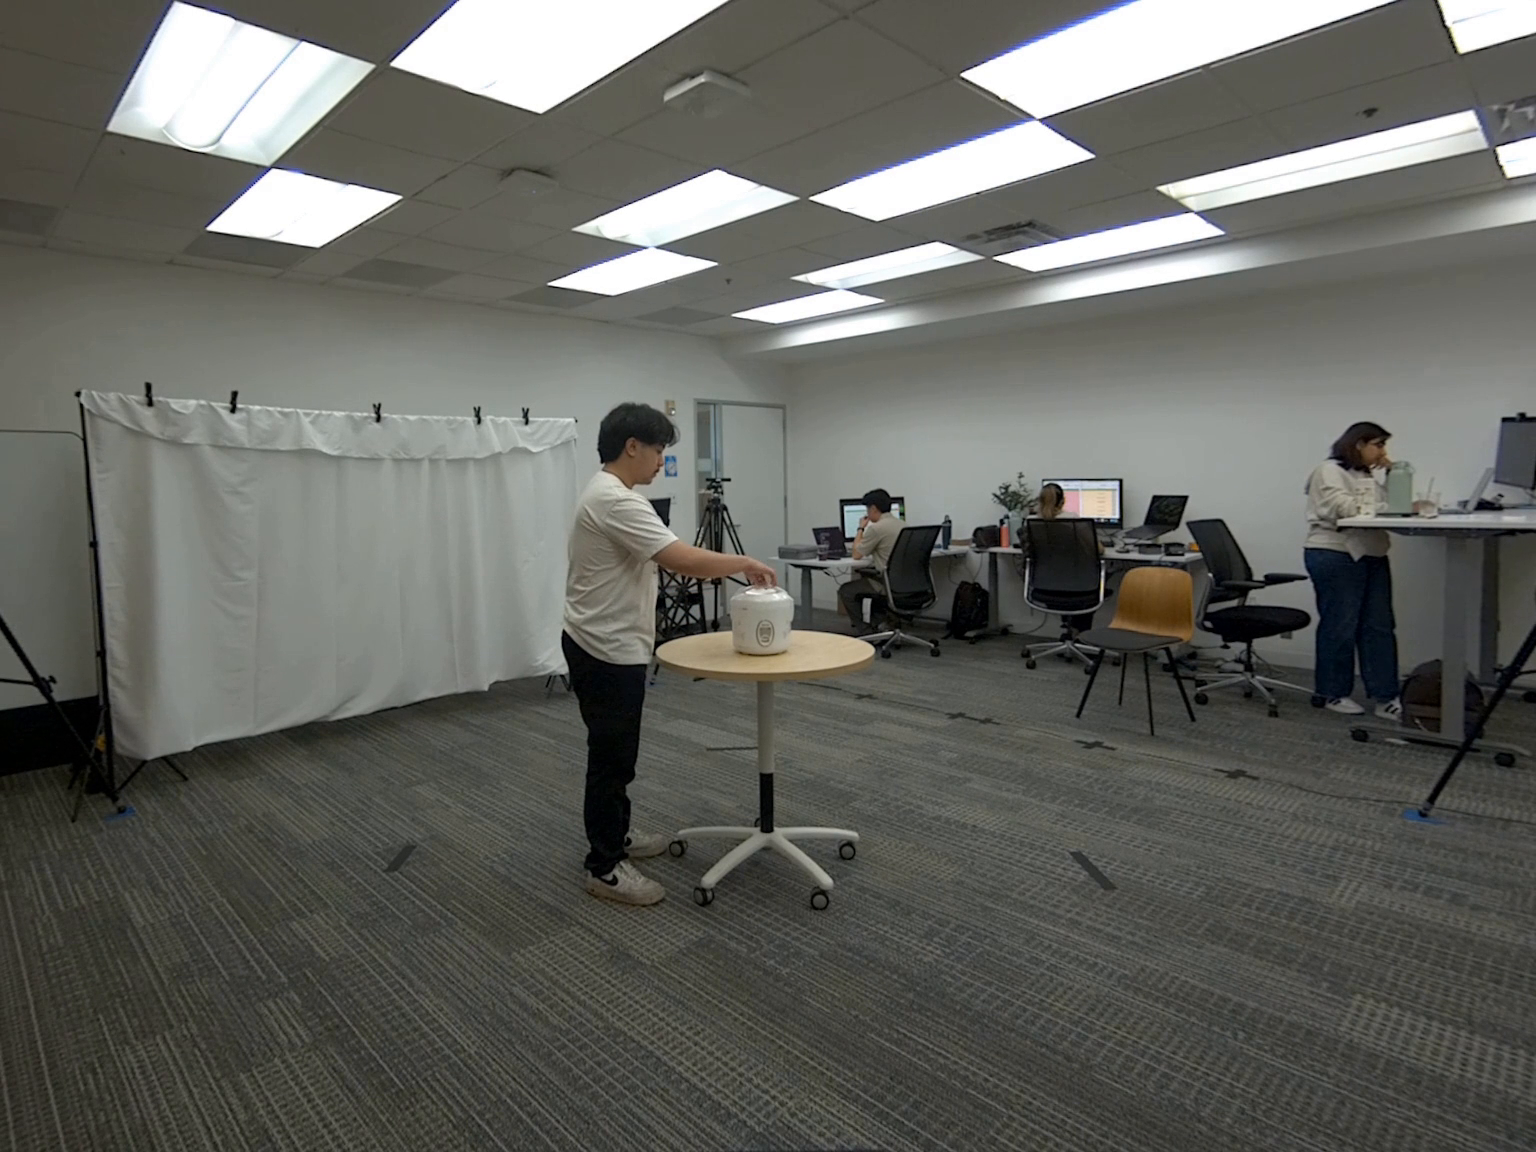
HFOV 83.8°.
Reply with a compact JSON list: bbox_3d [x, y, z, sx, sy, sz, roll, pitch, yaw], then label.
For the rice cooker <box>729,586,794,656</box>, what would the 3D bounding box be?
[{"bbox_3d":[-0.018,0.142,2.956,0.219,0.232,0.219,-2,4,-6],"label":"rice cooker"}]
